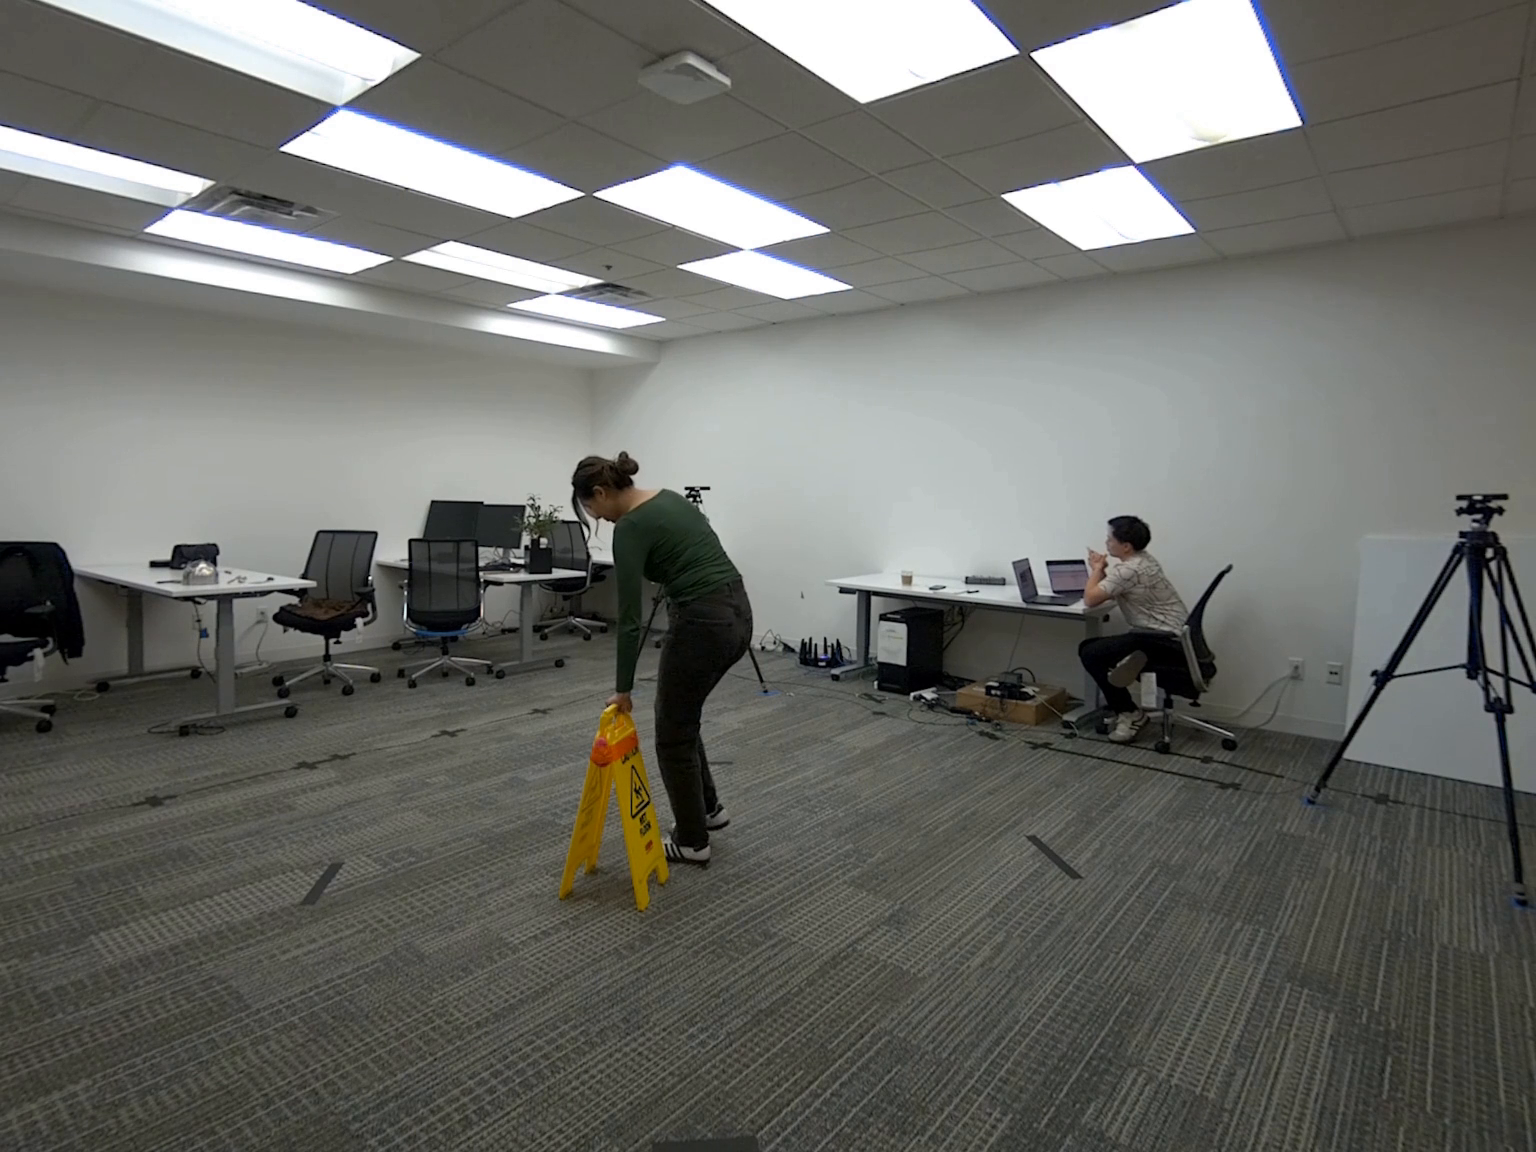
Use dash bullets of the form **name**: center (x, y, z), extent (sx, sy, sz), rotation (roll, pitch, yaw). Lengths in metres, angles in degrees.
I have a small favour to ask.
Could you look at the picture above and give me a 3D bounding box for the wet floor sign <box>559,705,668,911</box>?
- **wet floor sign**: center (-0.533, 0.756, 2.925), extent (0.294, 0.644, 0.278), rotation (1, 3, 14)
